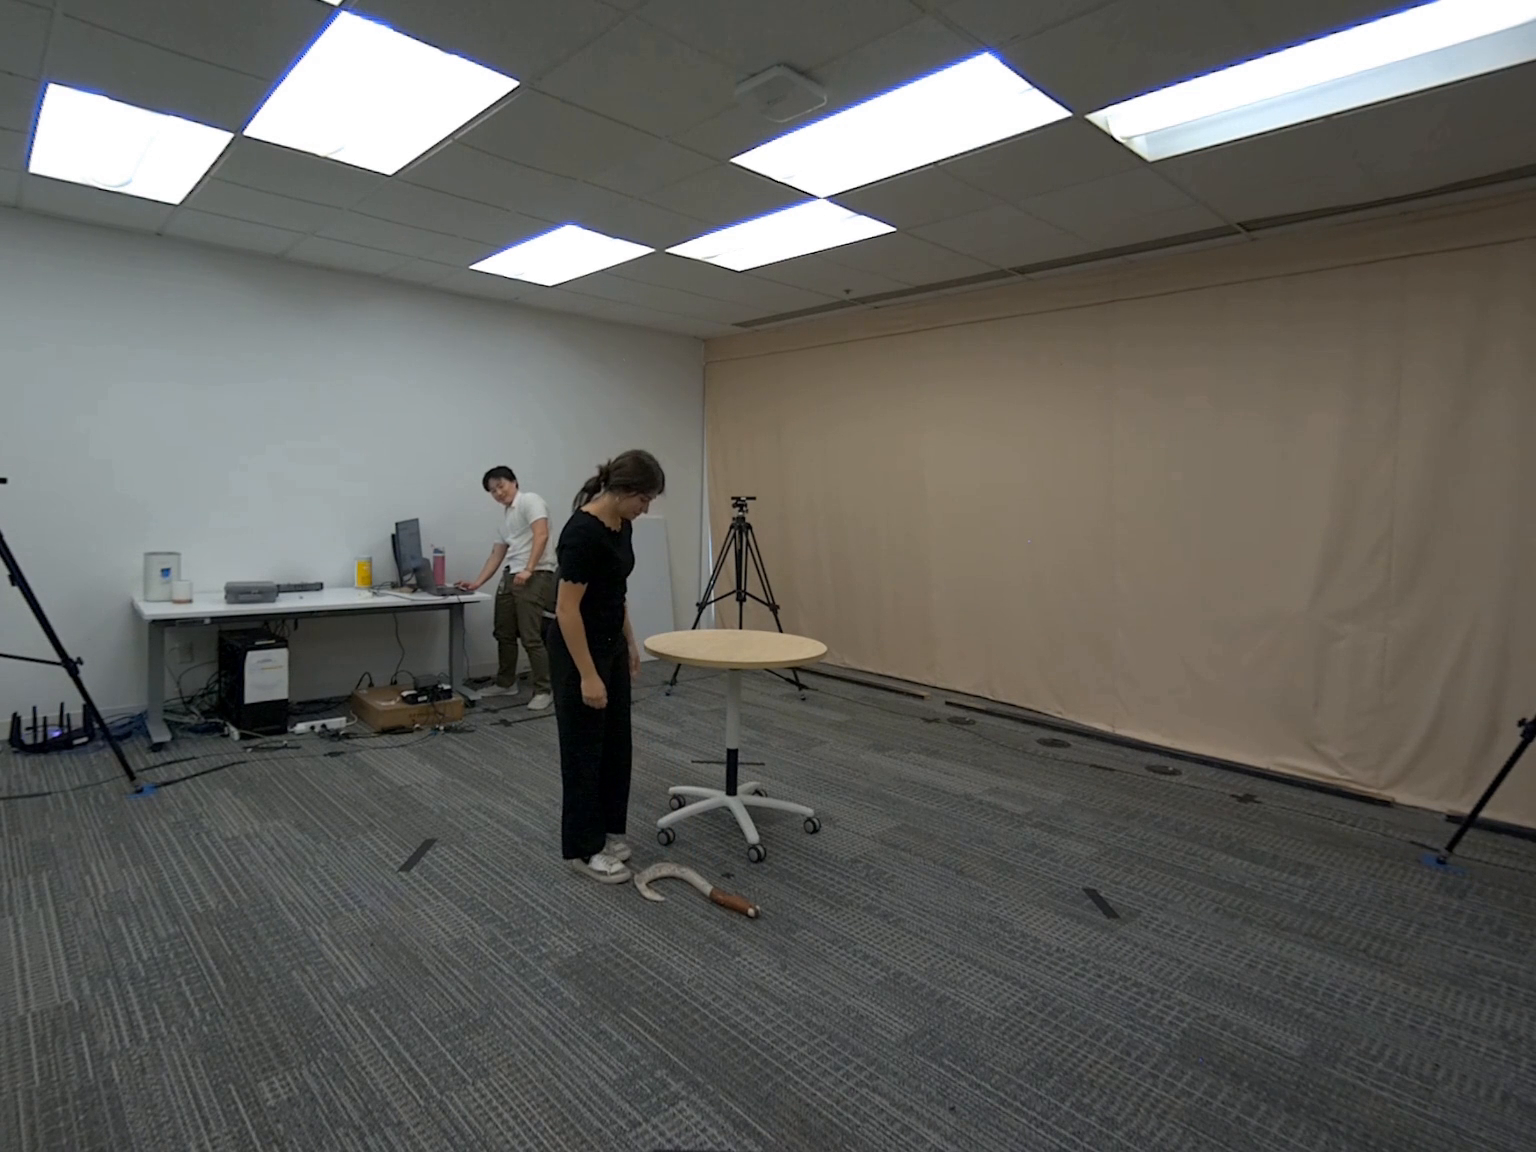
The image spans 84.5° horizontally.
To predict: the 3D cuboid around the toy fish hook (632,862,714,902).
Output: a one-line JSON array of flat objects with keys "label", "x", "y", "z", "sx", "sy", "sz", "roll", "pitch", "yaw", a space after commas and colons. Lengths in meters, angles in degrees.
[{"label": "toy fish hook", "x": -0.268, "y": 1.106, "z": 2.915, "sx": 0.519, "sy": 0.048, "sz": 0.221, "roll": 5, "pitch": 15, "yaw": 41}]
